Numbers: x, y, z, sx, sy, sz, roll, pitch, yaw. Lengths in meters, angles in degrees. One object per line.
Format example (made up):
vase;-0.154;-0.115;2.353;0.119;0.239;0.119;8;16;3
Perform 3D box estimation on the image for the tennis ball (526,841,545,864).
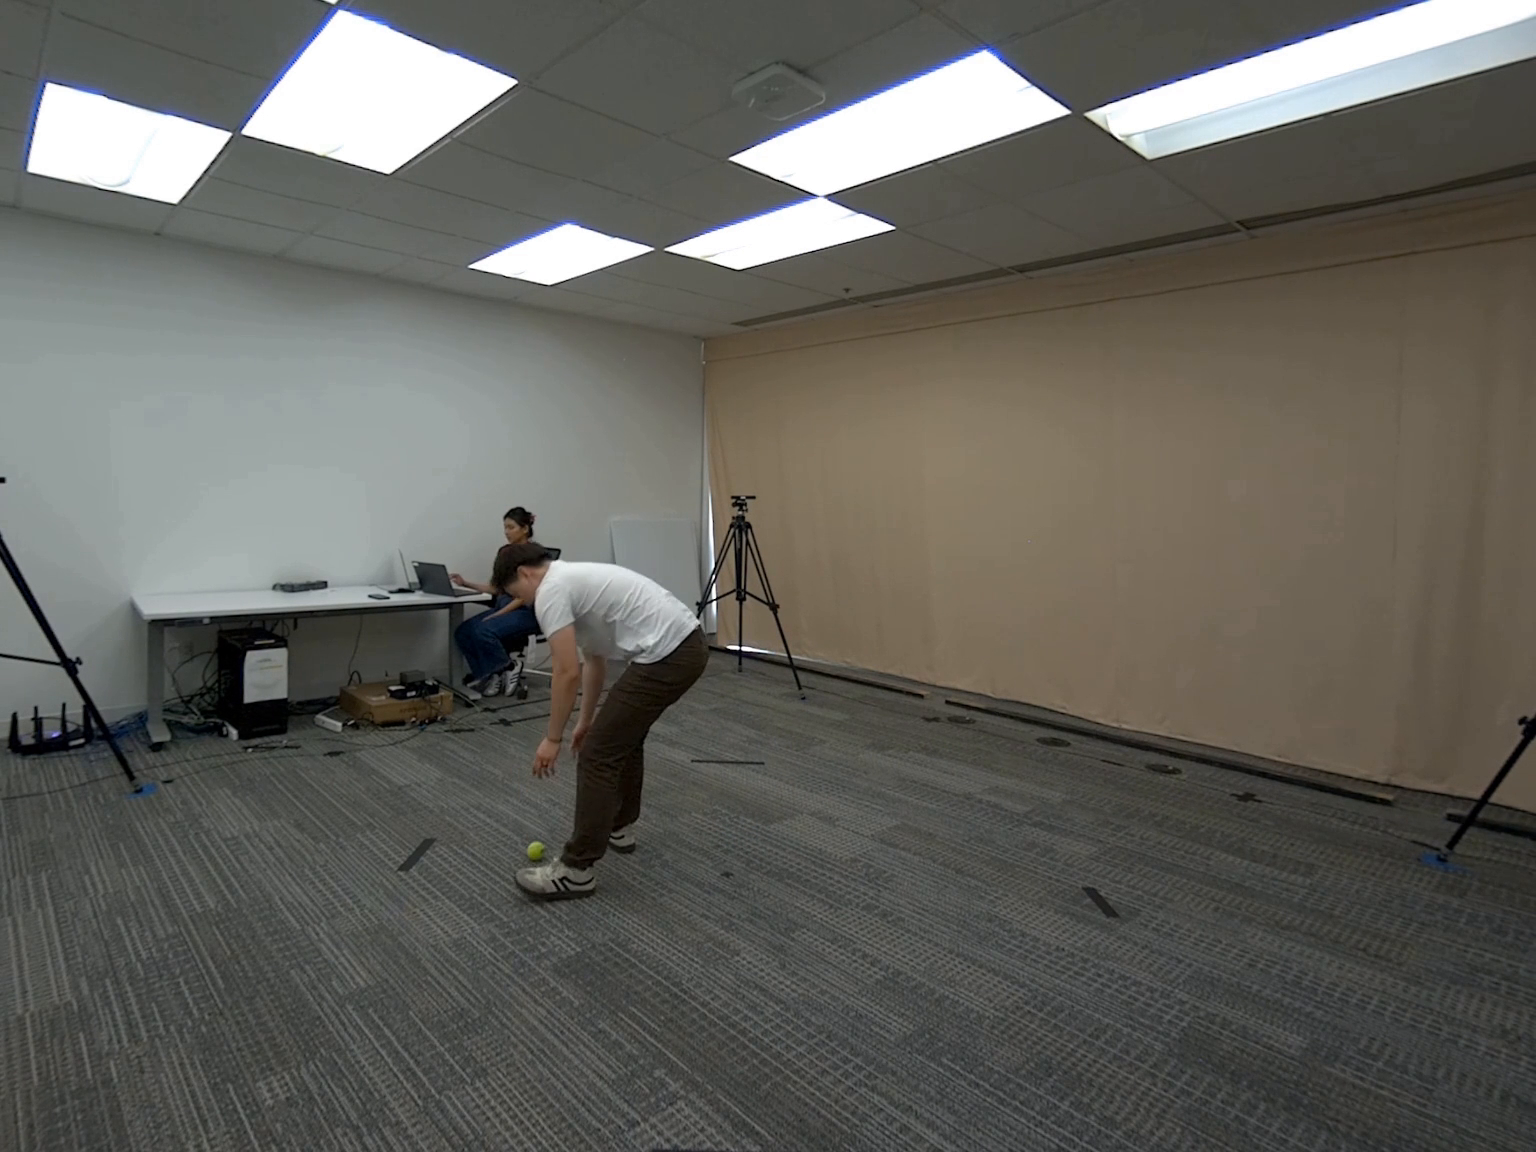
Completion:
tennis ball;-0.896;1.034;3.193;0.066;0.066;0.067;1;4;-1
